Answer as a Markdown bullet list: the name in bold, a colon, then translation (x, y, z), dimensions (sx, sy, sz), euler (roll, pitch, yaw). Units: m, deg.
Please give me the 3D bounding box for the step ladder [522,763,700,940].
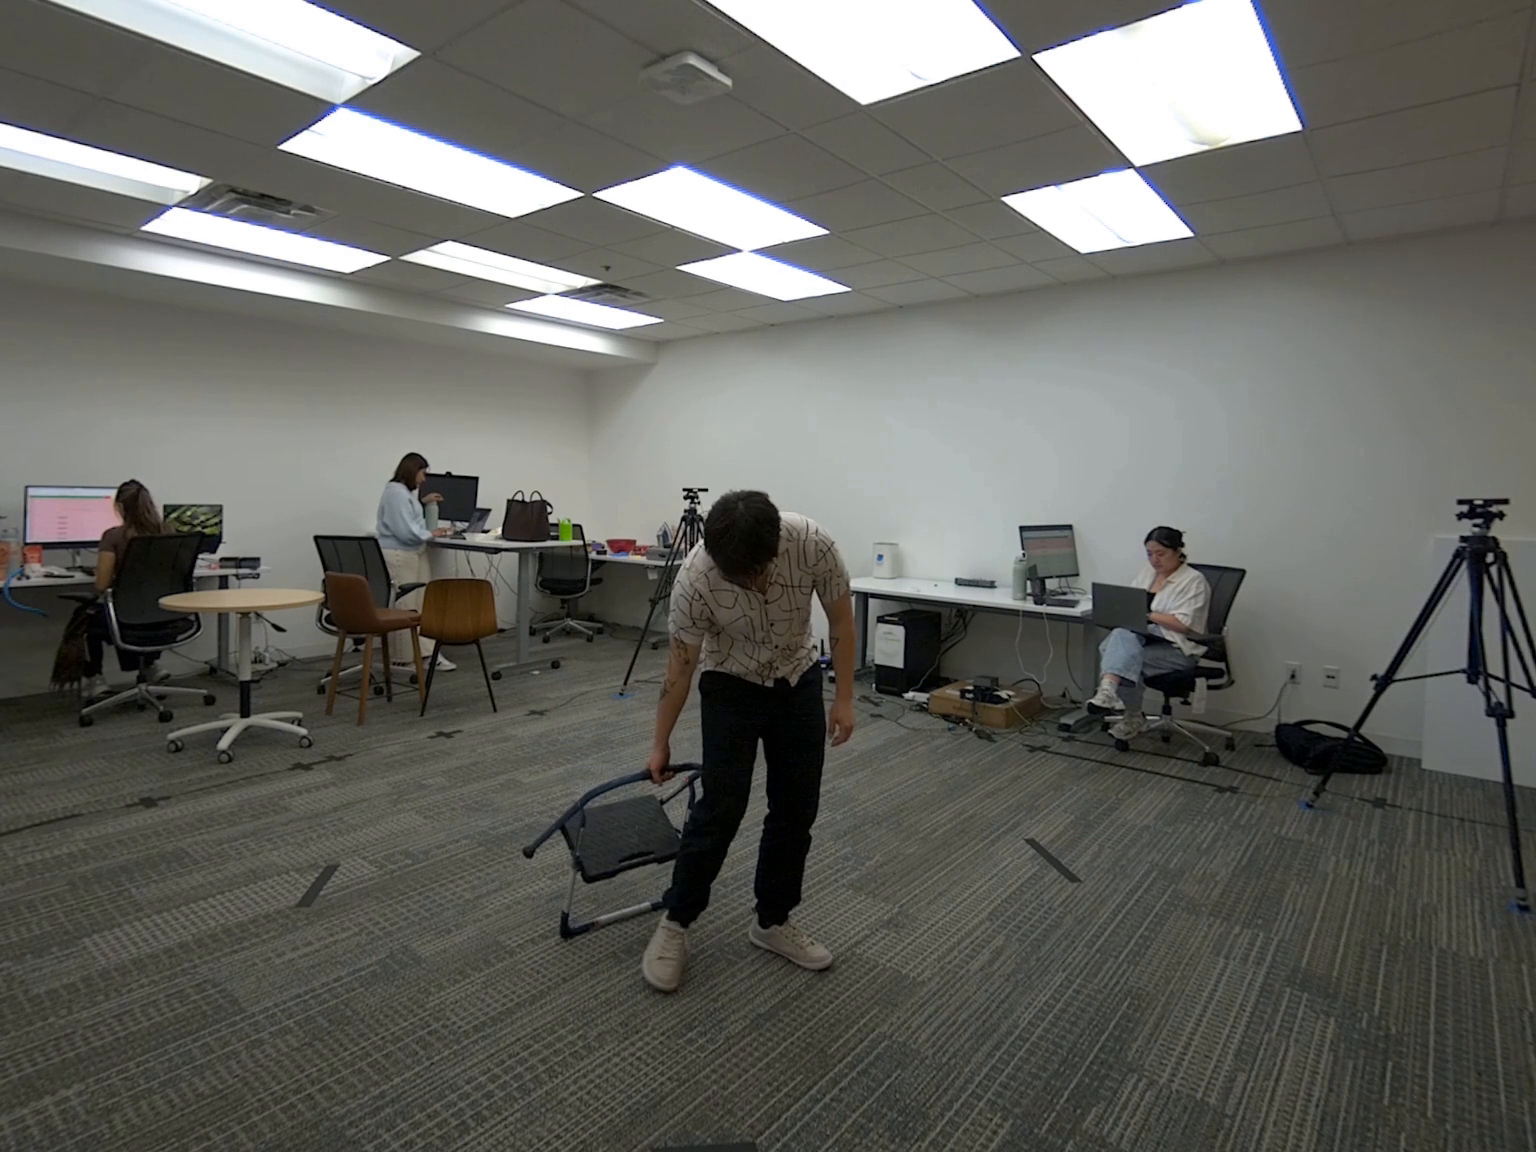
- **step ladder**: translation (-0.473, 0.764, 2.703), dimensions (0.418, 0.598, 0.364), euler (-3, 38, -38)
